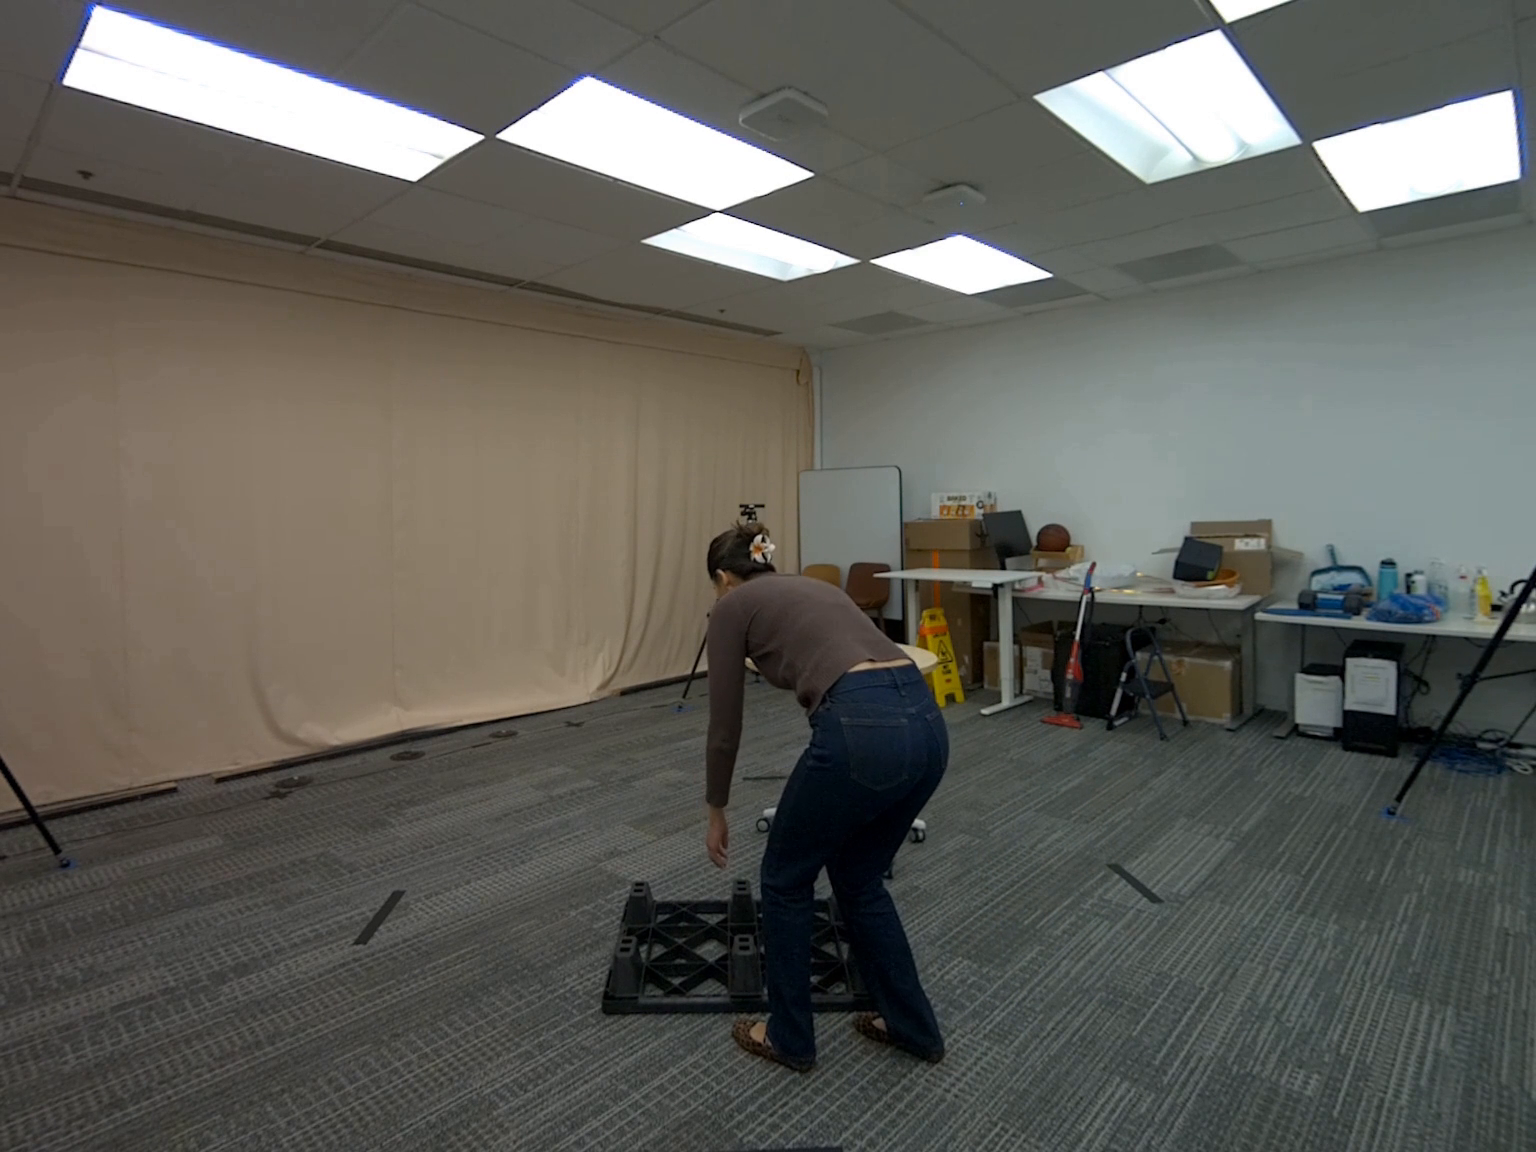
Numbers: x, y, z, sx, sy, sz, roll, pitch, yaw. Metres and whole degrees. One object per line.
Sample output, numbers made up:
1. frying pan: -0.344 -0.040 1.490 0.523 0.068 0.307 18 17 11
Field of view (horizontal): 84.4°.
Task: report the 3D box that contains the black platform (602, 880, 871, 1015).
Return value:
1. black platform: -0.078 1.107 2.594 0.805 0.143 0.607 -1 4 -1
